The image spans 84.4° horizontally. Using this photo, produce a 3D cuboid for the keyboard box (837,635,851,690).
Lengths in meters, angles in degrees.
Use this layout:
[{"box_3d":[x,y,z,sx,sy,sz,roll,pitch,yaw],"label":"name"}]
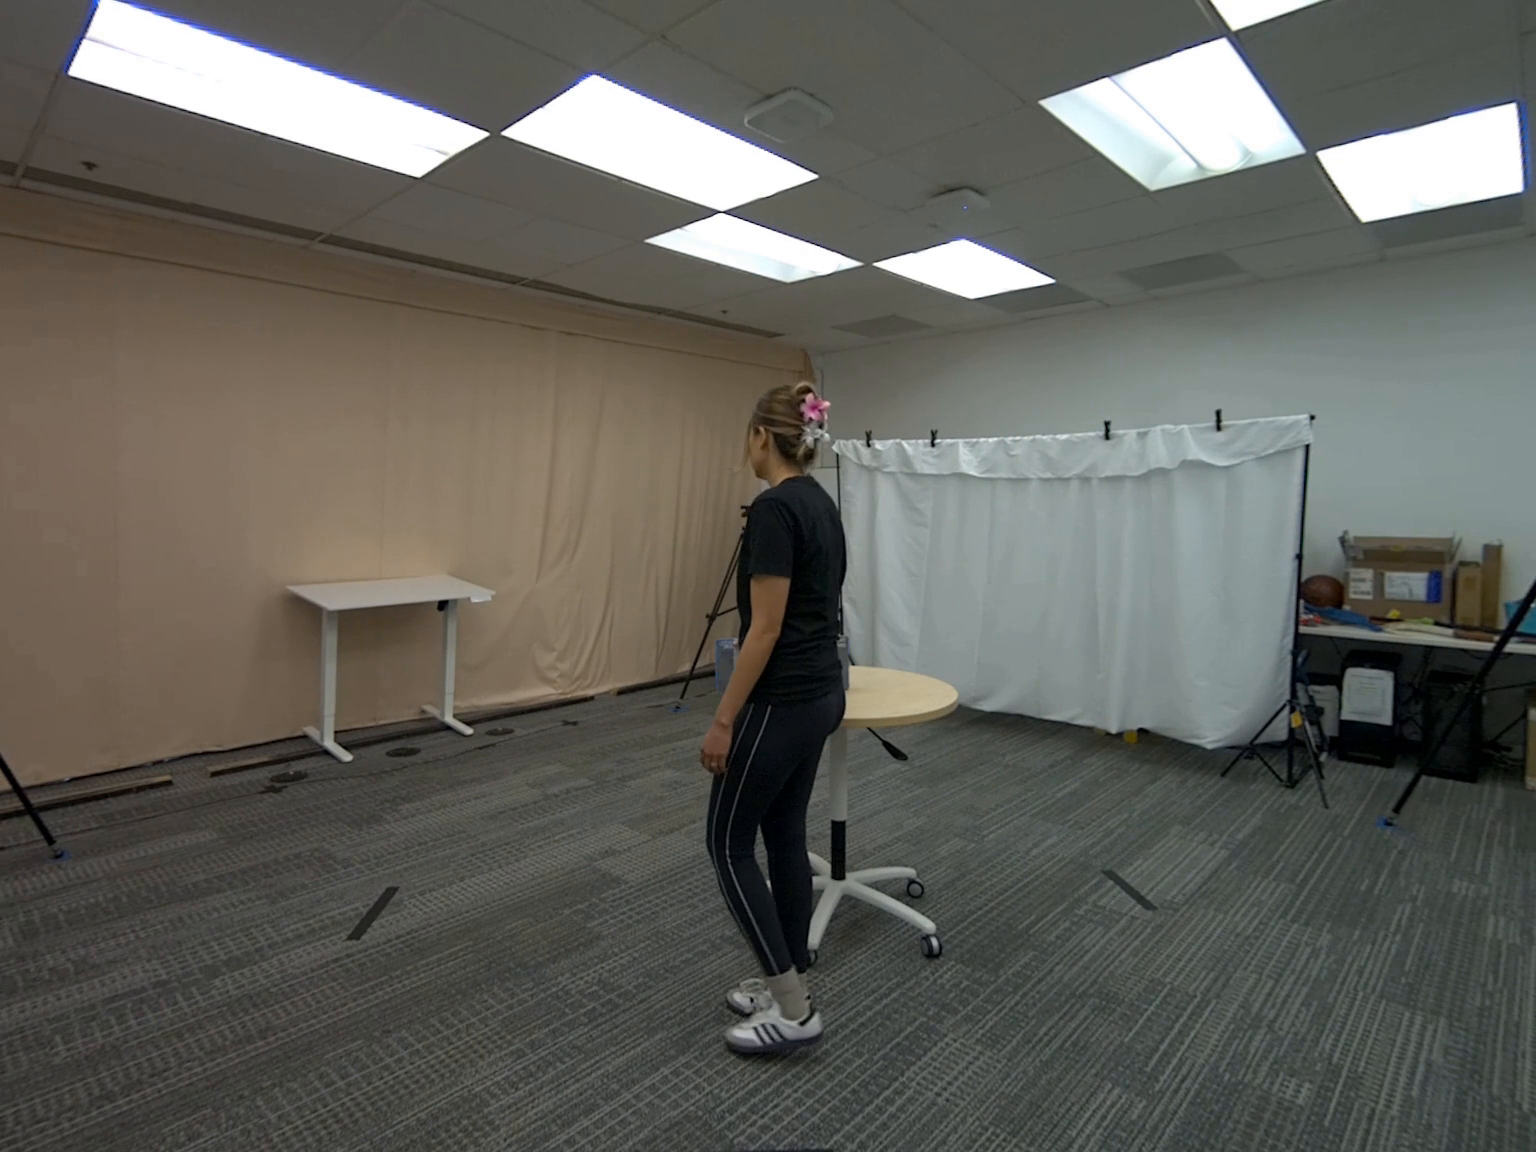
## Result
[{"box_3d":[0.050,0.286,2.779,0.435,0.176,0.059,0,-1,-4],"label":"keyboard box"}]
